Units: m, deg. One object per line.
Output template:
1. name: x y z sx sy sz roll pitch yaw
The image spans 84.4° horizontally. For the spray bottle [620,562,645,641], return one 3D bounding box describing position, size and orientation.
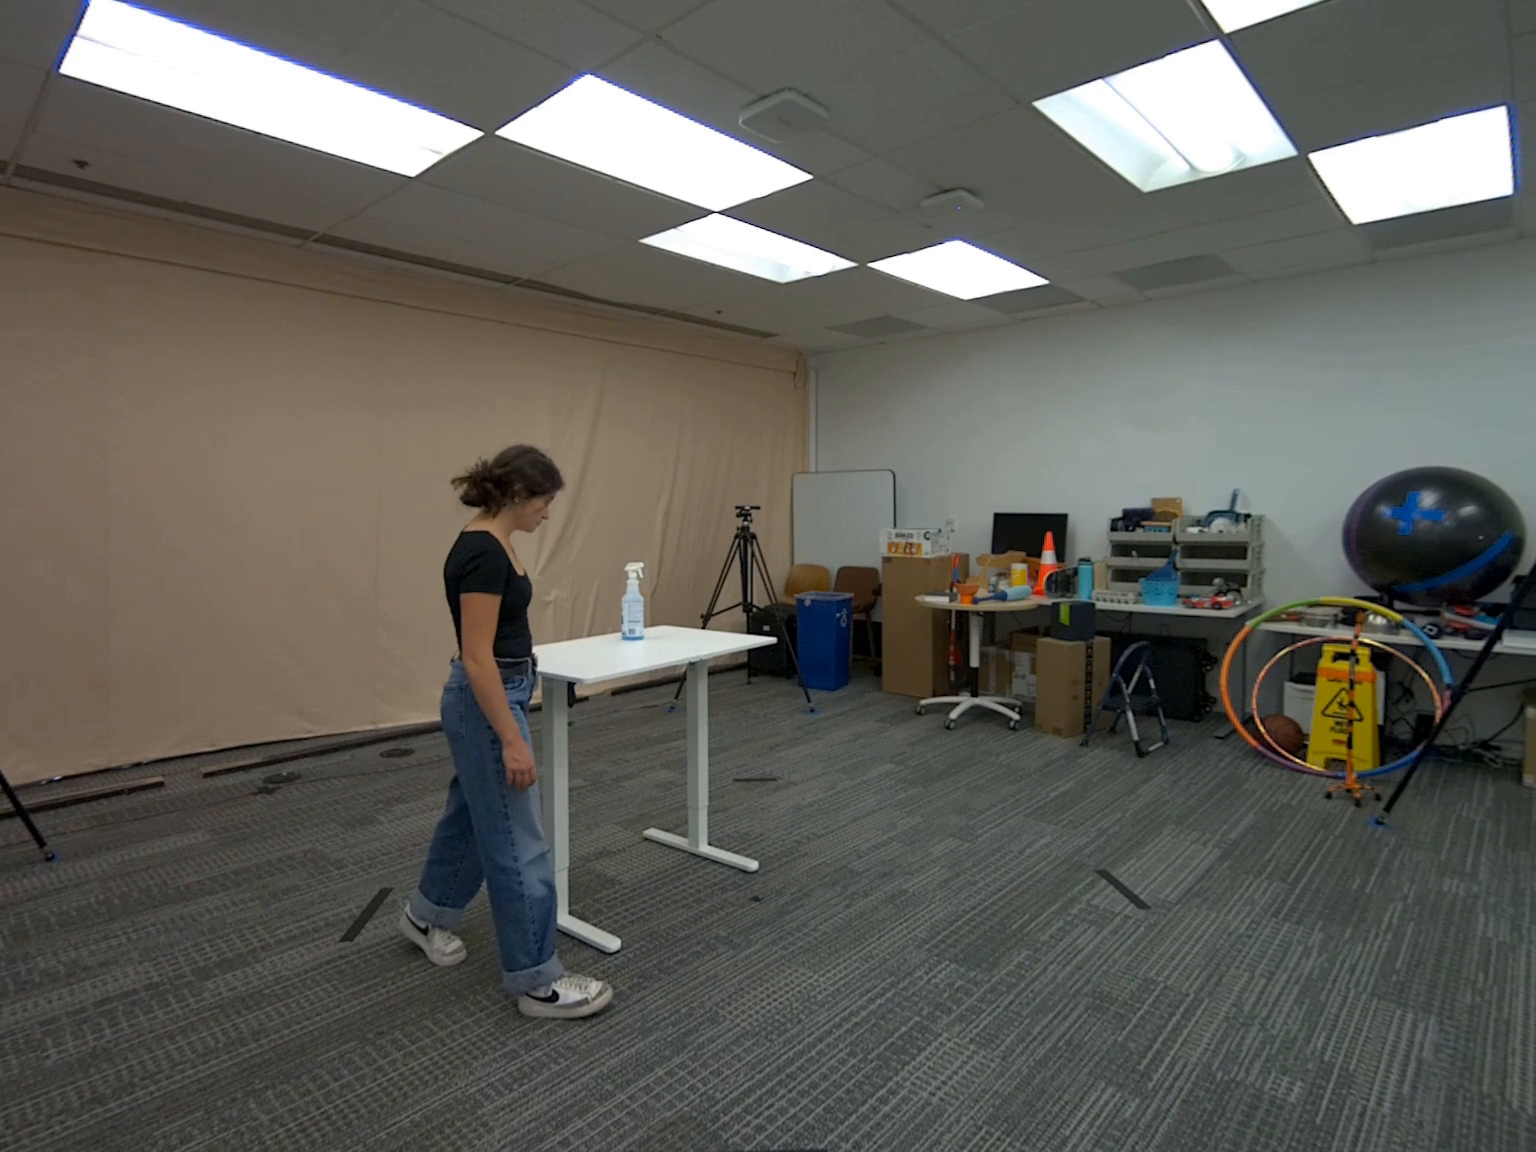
1. spray bottle: -0.526 0.098 3.252 0.085 0.297 0.093 -1 4 -31
